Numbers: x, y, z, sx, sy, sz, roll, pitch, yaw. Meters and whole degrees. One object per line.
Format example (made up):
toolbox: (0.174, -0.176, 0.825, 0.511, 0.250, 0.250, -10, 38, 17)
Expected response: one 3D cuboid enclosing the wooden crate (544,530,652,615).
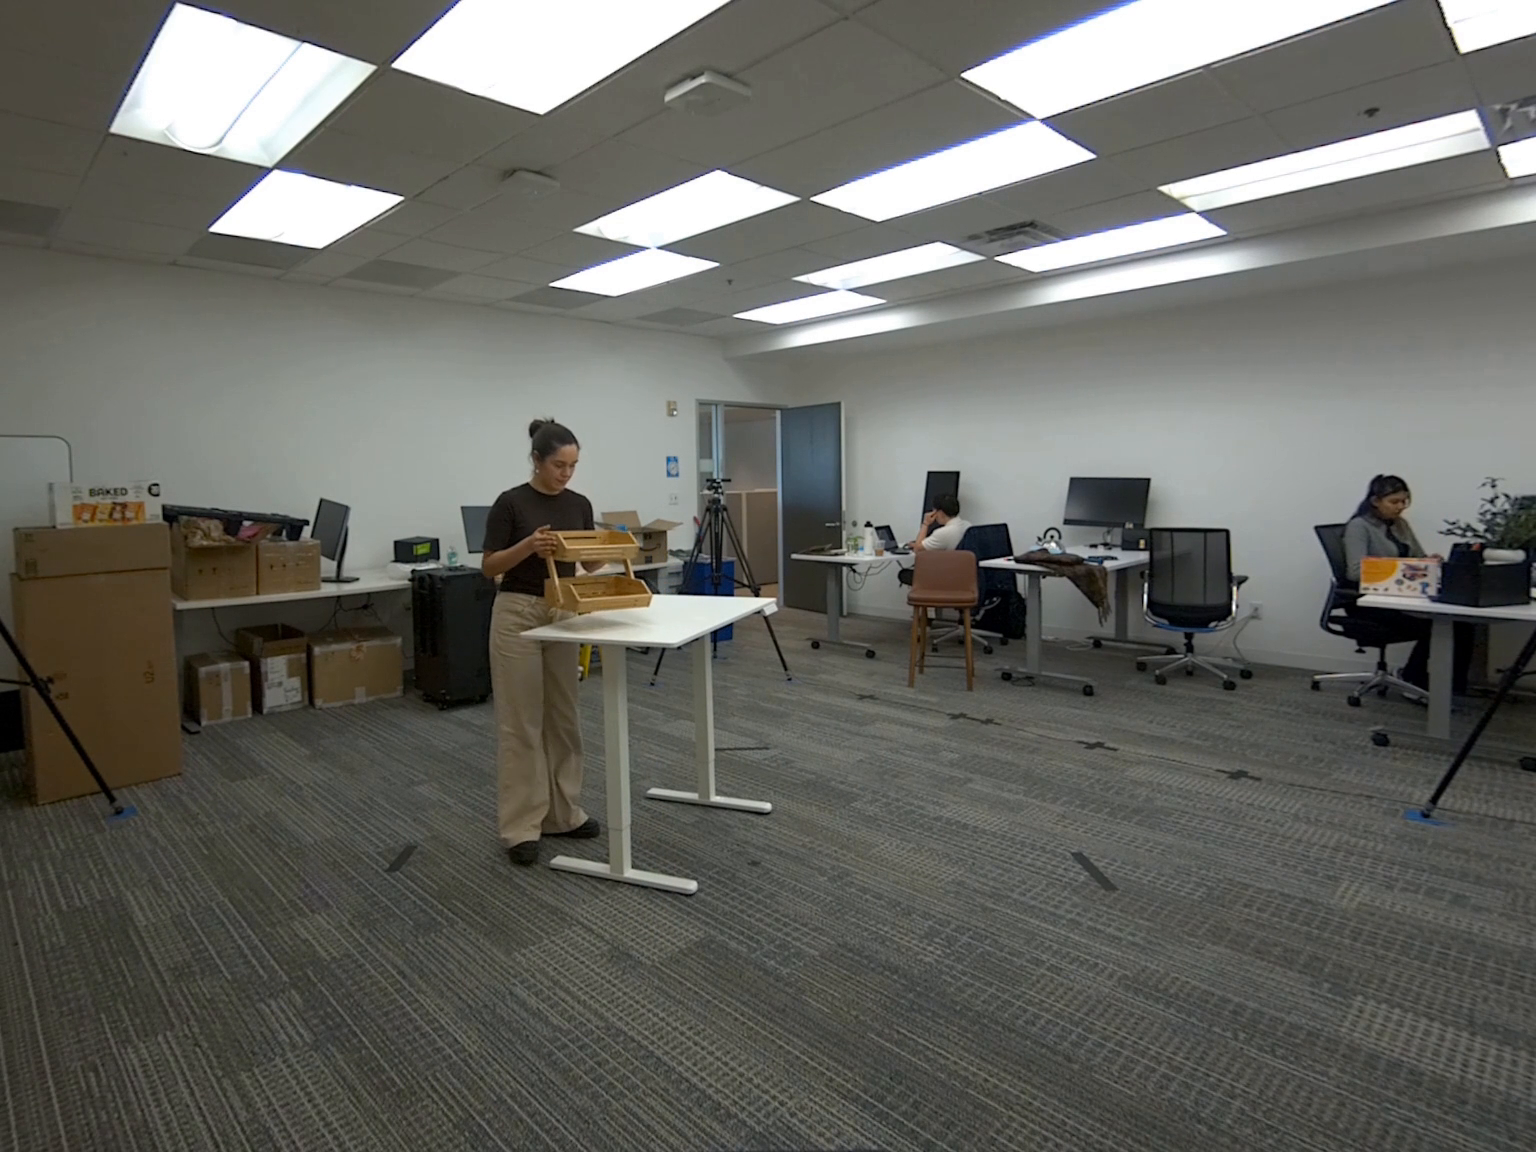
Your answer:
wooden crate: (-0.621, -0.027, 3.076, 0.315, 0.272, 0.311, -2, 6, -41)
